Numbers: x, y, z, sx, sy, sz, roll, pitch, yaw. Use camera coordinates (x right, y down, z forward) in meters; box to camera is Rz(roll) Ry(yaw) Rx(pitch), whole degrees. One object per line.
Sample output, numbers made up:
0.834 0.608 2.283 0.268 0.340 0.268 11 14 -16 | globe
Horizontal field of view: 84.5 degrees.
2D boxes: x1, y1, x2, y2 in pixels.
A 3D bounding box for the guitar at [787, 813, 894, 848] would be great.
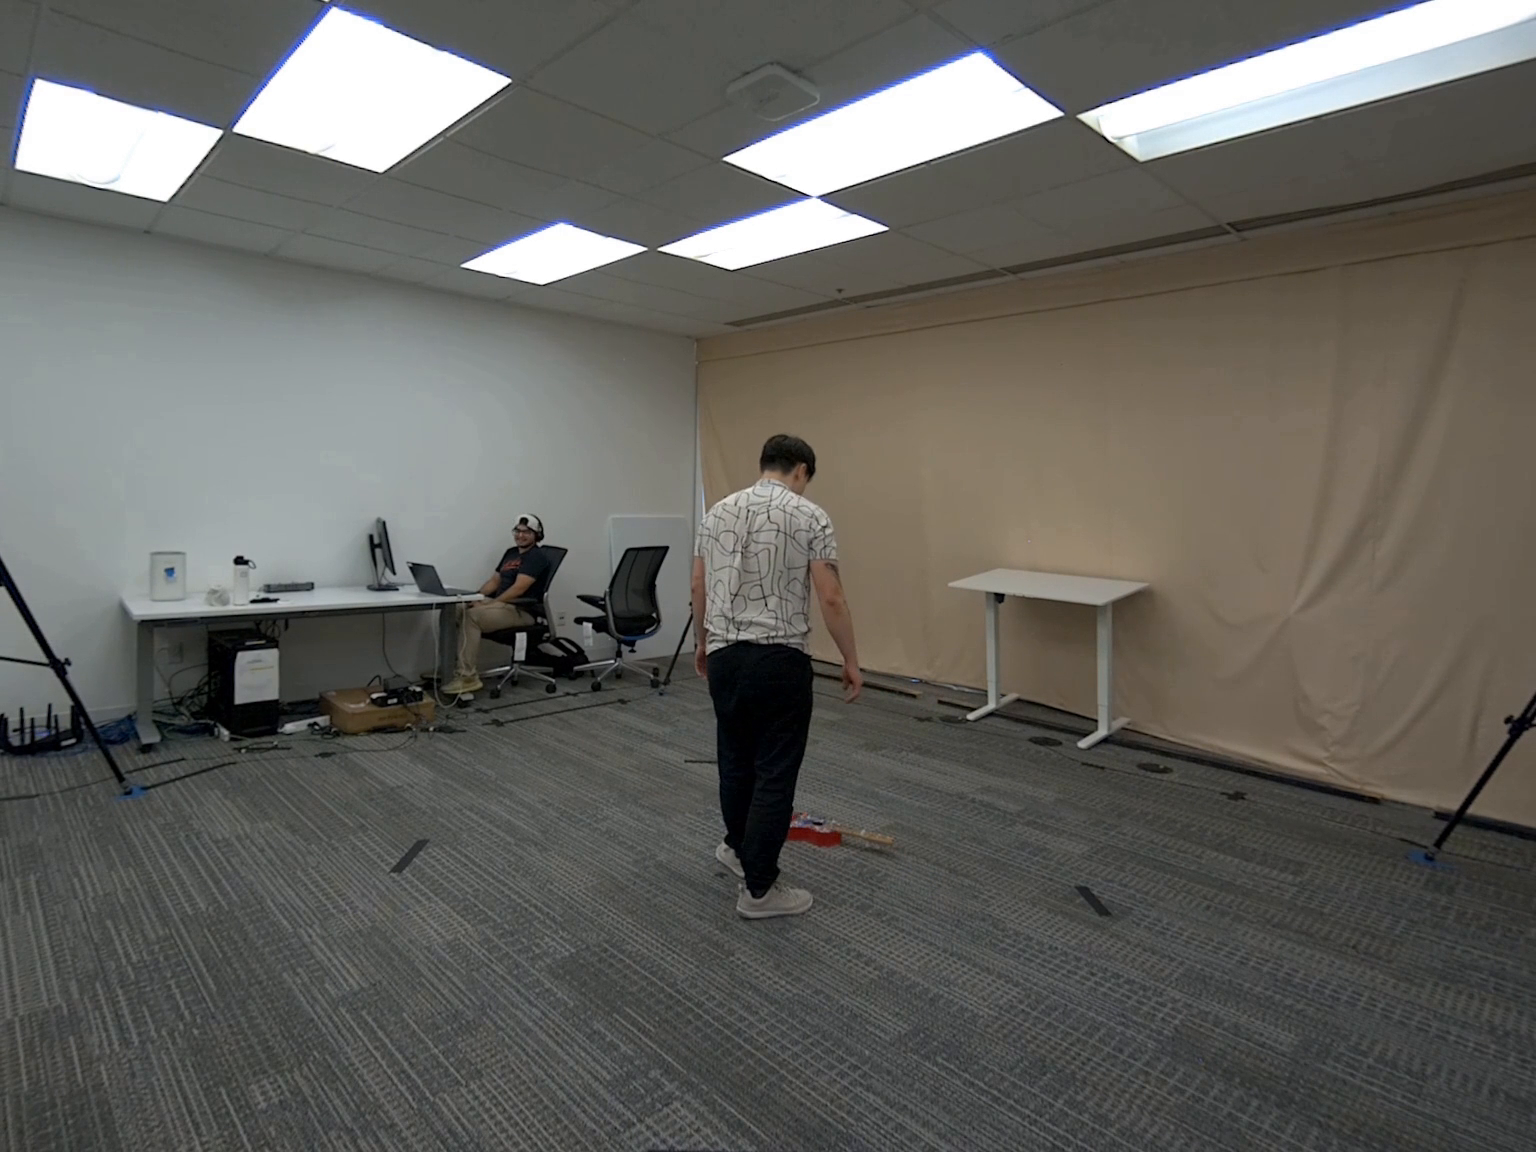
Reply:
0.246 1.054 3.410 0.510 0.070 0.189 5 6 38 | guitar
